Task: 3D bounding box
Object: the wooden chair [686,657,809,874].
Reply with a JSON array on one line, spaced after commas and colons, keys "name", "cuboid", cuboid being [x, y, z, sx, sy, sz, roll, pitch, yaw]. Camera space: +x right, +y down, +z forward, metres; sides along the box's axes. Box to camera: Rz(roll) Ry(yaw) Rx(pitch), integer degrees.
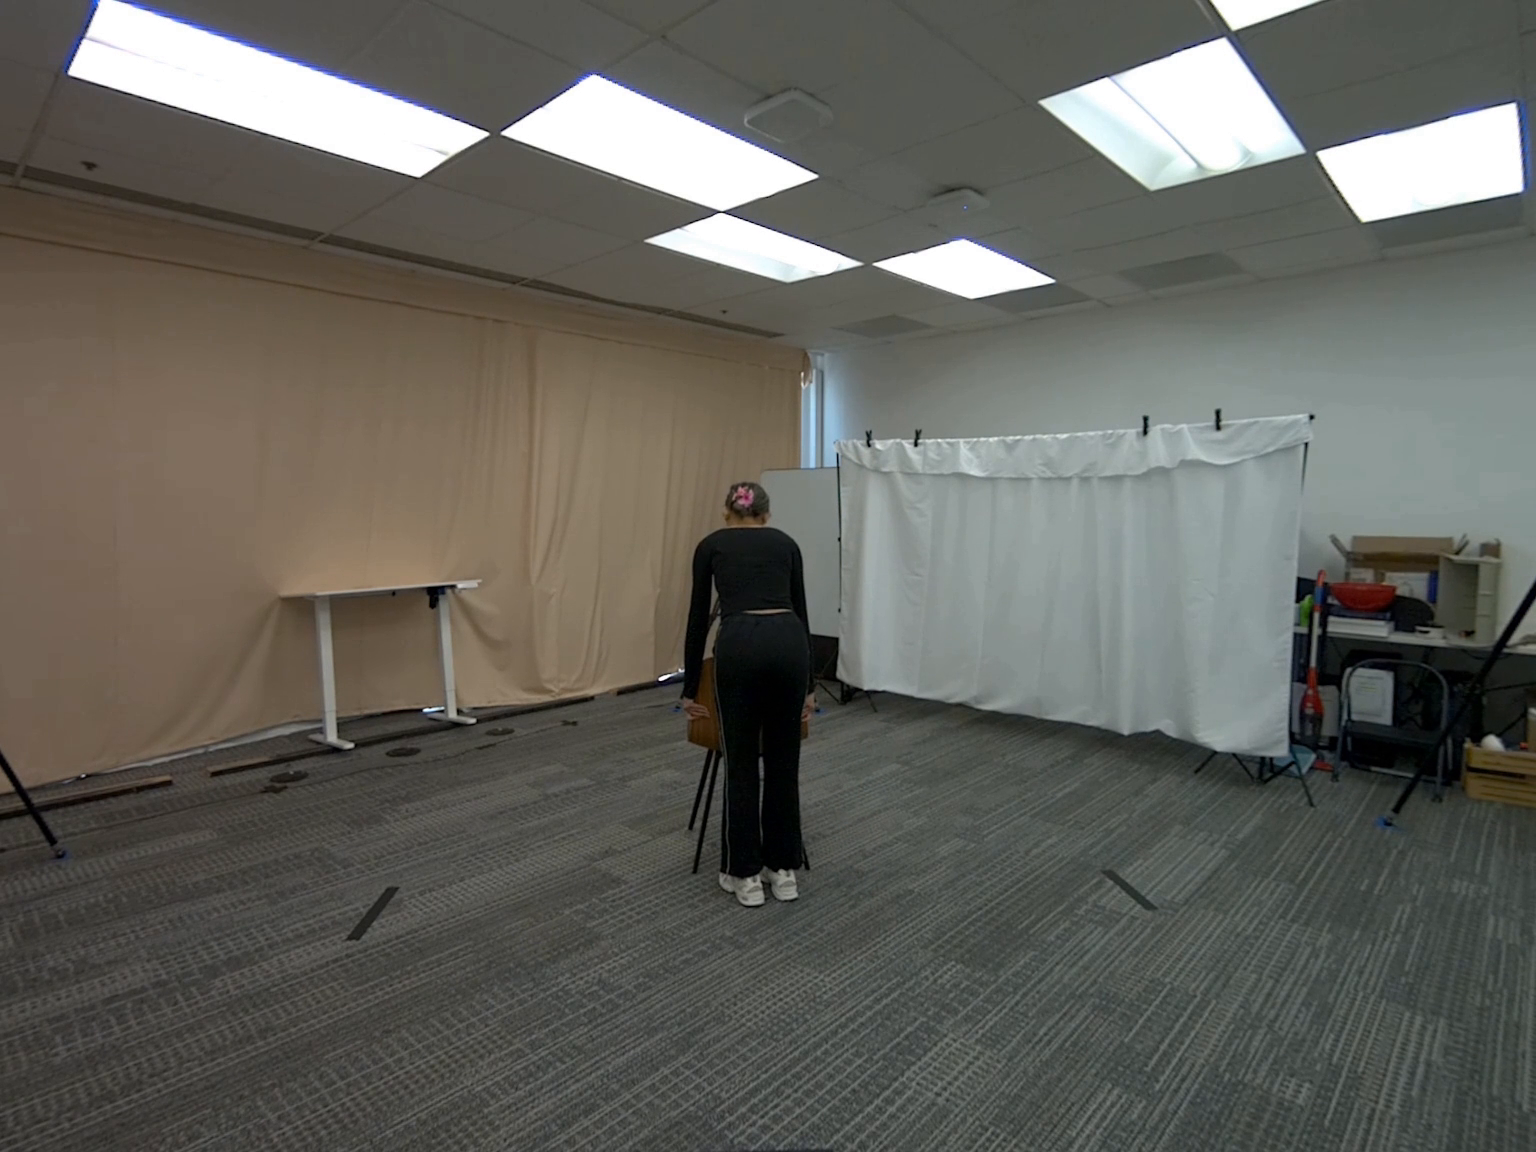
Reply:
[{"name": "wooden chair", "cuboid": [-0.099, 0.680, 3.402, 0.475, 0.873, 0.529, -1, 7, -6]}]
